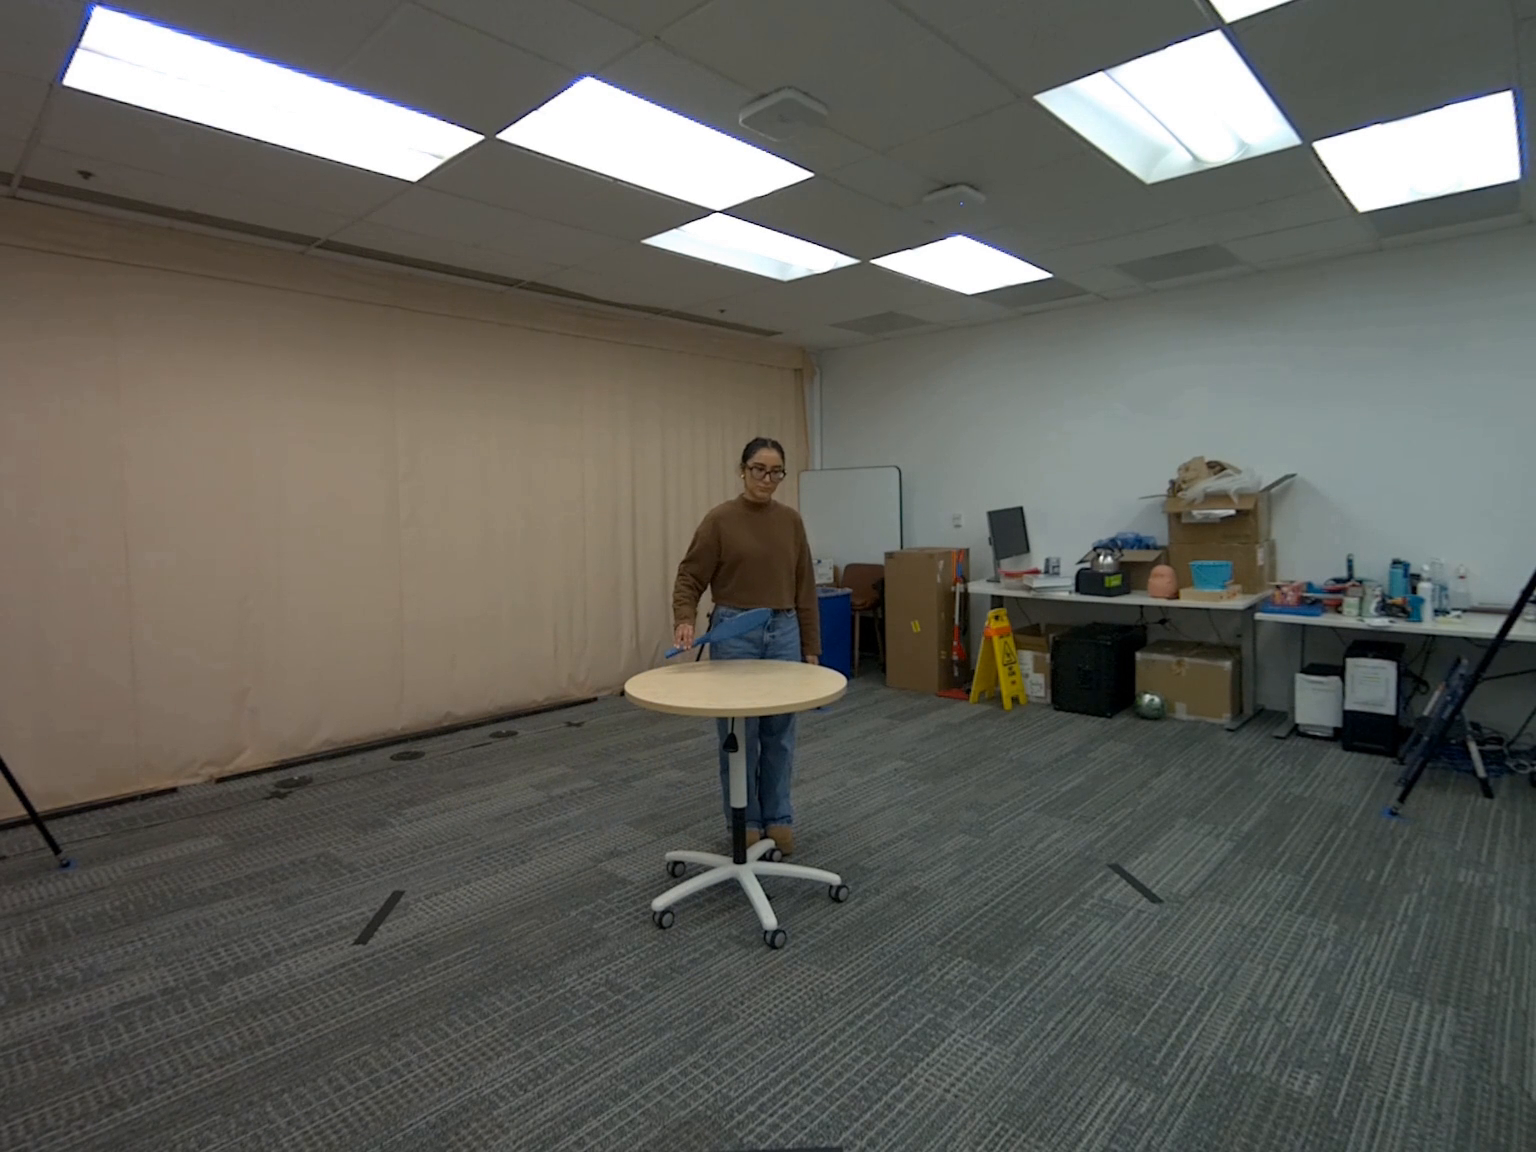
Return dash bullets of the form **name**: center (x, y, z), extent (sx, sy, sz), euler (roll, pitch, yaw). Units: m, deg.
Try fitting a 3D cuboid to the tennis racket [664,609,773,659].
- **tennis racket**: center (-0.185, 0.222, 3.137), extent (0.431, 0.032, 0.210), euler (-22, -21, -7)
